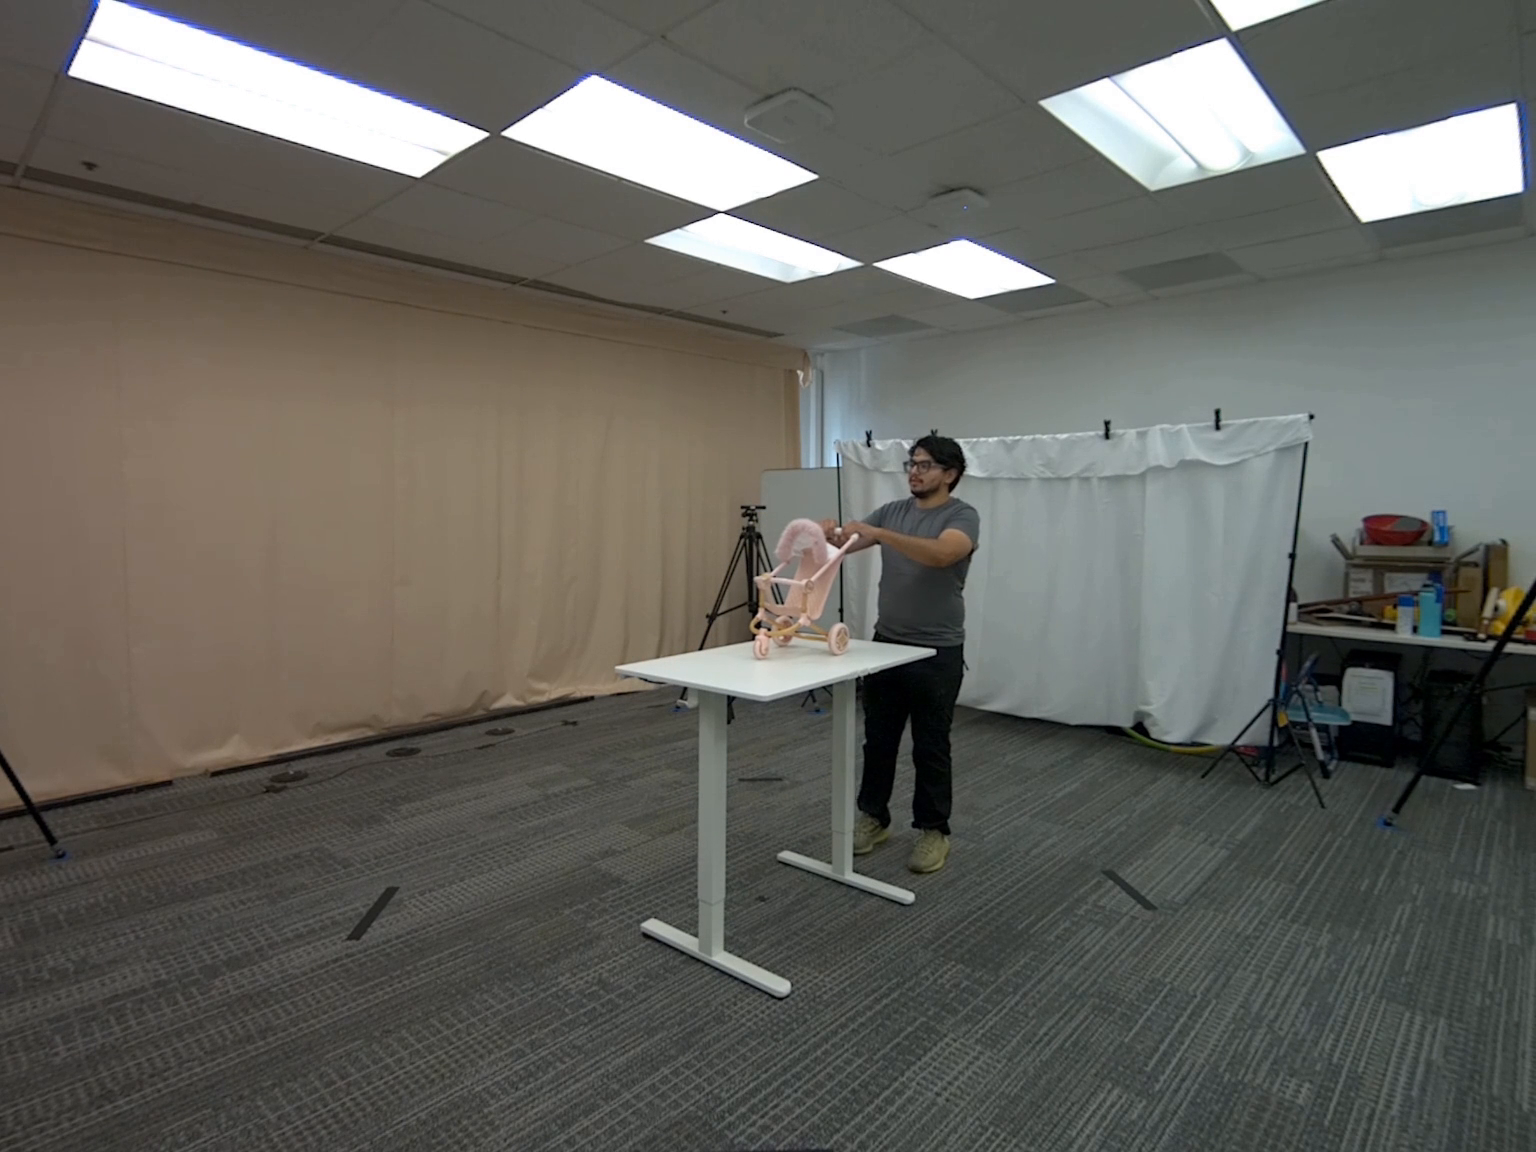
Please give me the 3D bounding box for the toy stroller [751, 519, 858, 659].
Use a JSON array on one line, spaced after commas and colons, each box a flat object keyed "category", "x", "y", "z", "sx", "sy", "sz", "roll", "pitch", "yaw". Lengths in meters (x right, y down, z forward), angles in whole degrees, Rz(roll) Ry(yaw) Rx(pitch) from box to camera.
[{"category": "toy stroller", "x": 0.111, "y": 0.044, "z": 2.910, "sx": 0.329, "sy": 0.536, "sz": 0.291, "roll": 19, "pitch": -10, "yaw": -42}]
